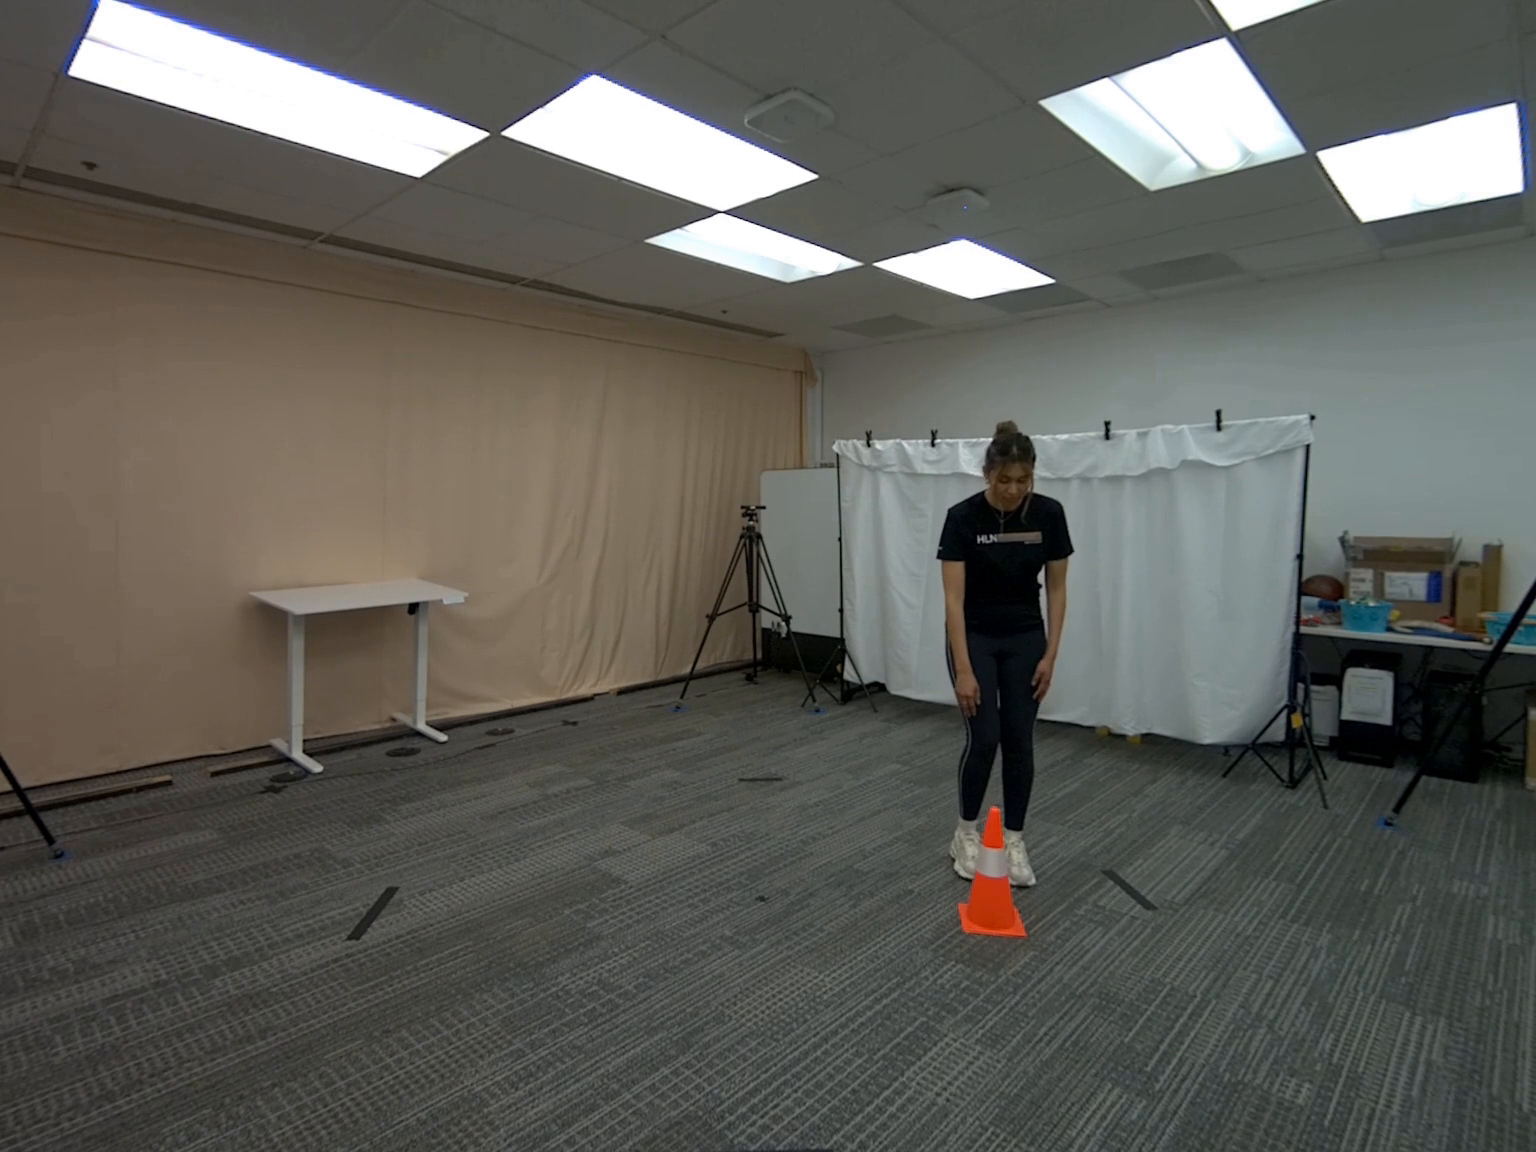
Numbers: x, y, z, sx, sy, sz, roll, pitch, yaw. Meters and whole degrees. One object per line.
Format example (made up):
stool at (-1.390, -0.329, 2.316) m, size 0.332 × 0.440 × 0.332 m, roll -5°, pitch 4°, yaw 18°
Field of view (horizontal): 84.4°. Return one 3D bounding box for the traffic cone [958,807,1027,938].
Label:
traffic cone at (0.755, 0.971, 2.814) m, size 0.208 × 0.383 × 0.201 m, roll 2°, pitch 3°, yaw 13°
